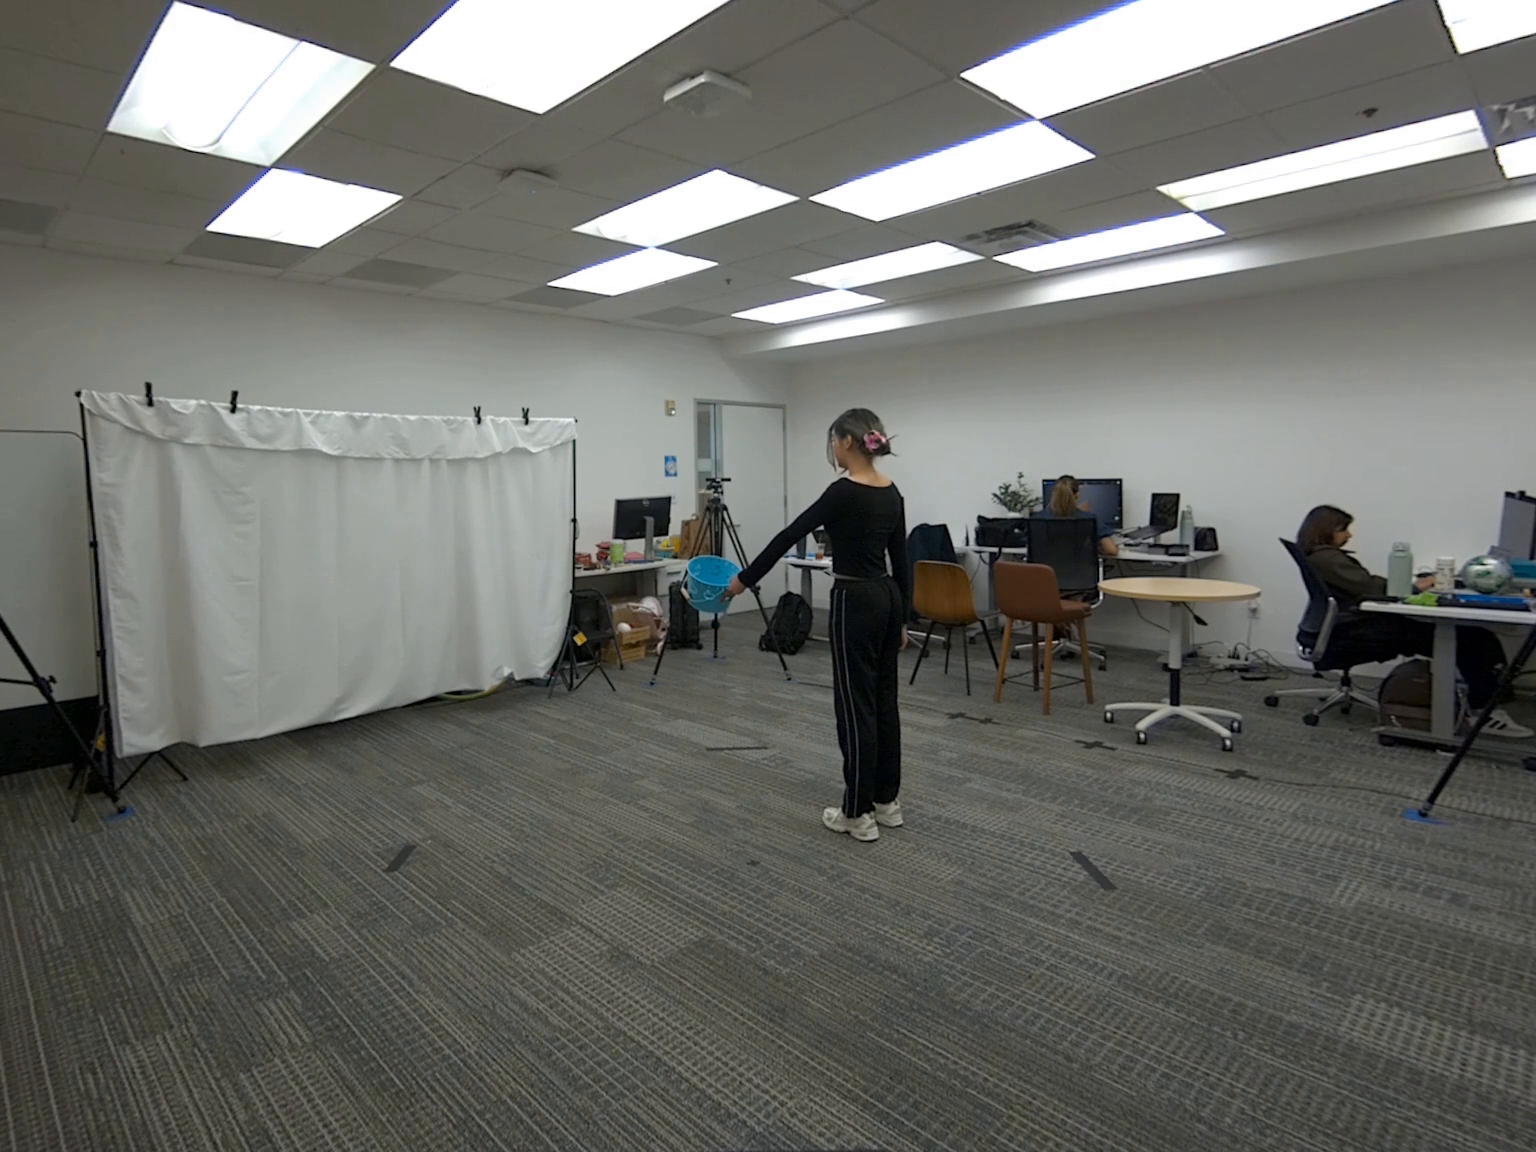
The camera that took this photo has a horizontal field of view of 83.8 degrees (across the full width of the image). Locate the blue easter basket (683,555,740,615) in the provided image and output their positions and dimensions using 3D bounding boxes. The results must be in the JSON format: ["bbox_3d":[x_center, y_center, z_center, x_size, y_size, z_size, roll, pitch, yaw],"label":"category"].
[{"bbox_3d":[-0.234,0.039,3.543,0.242,0.153,0.249,10,30,-7],"label":"blue easter basket"}]
